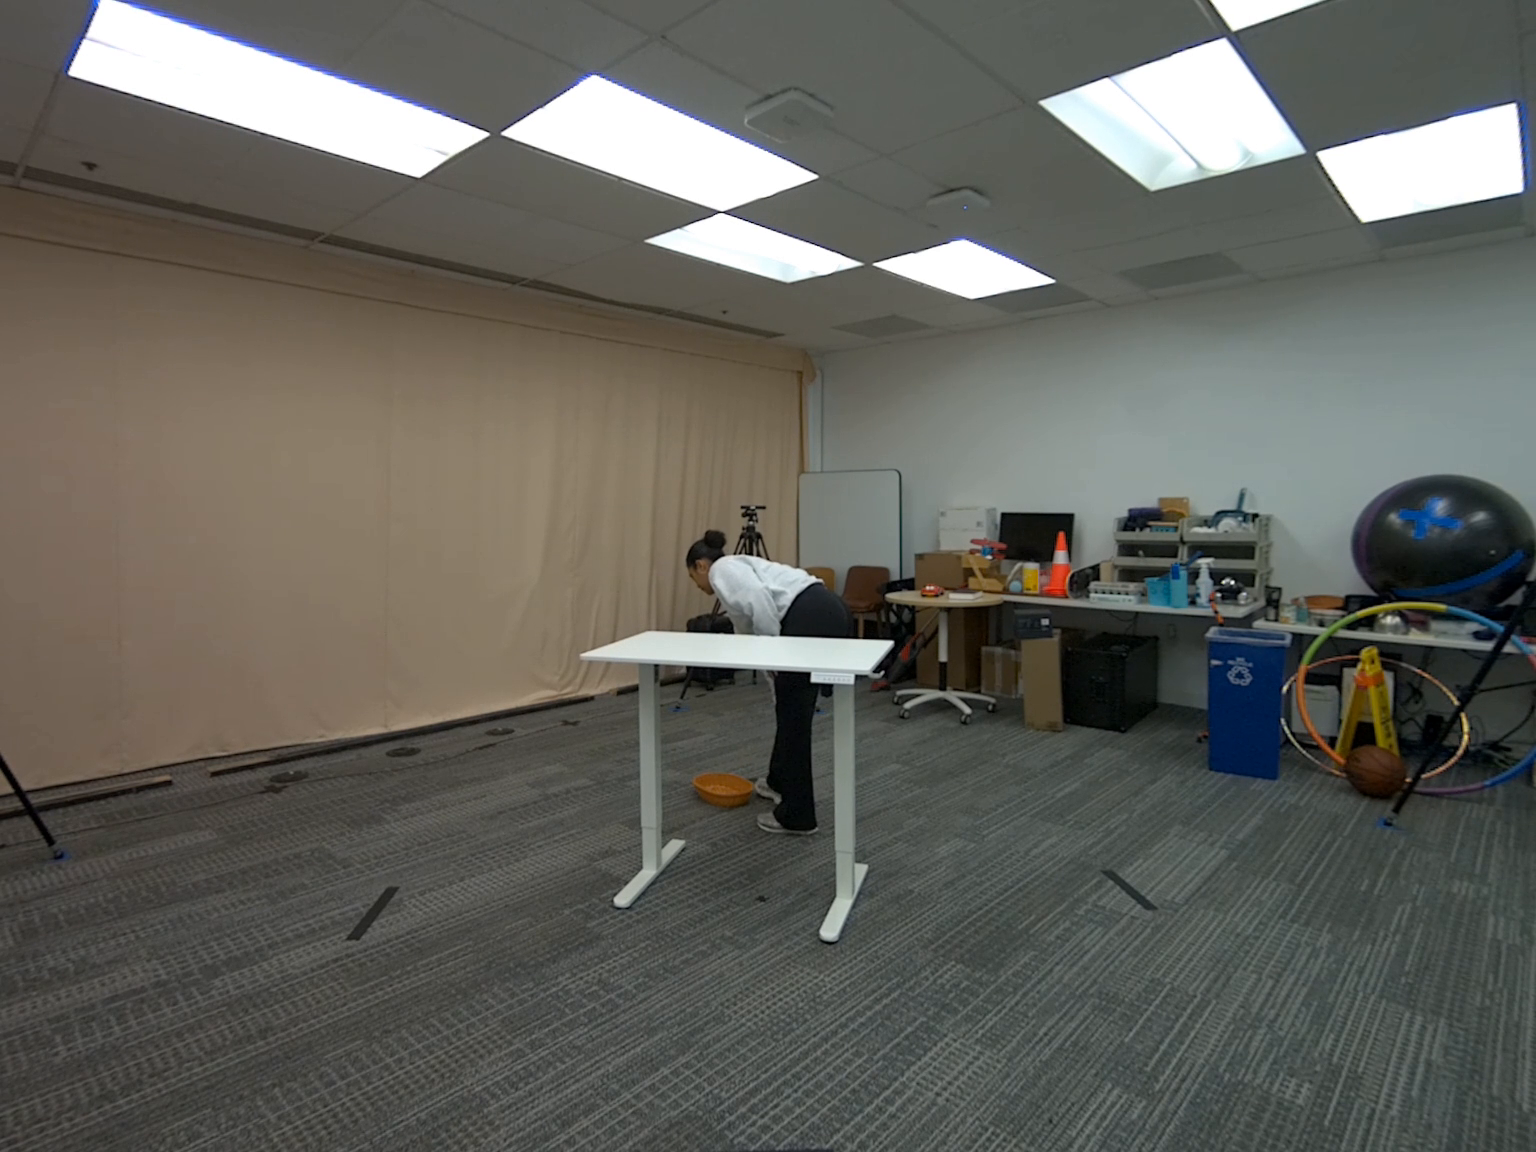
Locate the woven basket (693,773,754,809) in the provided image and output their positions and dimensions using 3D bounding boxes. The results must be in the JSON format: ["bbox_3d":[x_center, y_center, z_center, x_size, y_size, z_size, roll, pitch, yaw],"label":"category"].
[{"bbox_3d":[-0.213,1.023,4.037,0.245,0.073,0.361,-3,5,-31],"label":"woven basket"}]
